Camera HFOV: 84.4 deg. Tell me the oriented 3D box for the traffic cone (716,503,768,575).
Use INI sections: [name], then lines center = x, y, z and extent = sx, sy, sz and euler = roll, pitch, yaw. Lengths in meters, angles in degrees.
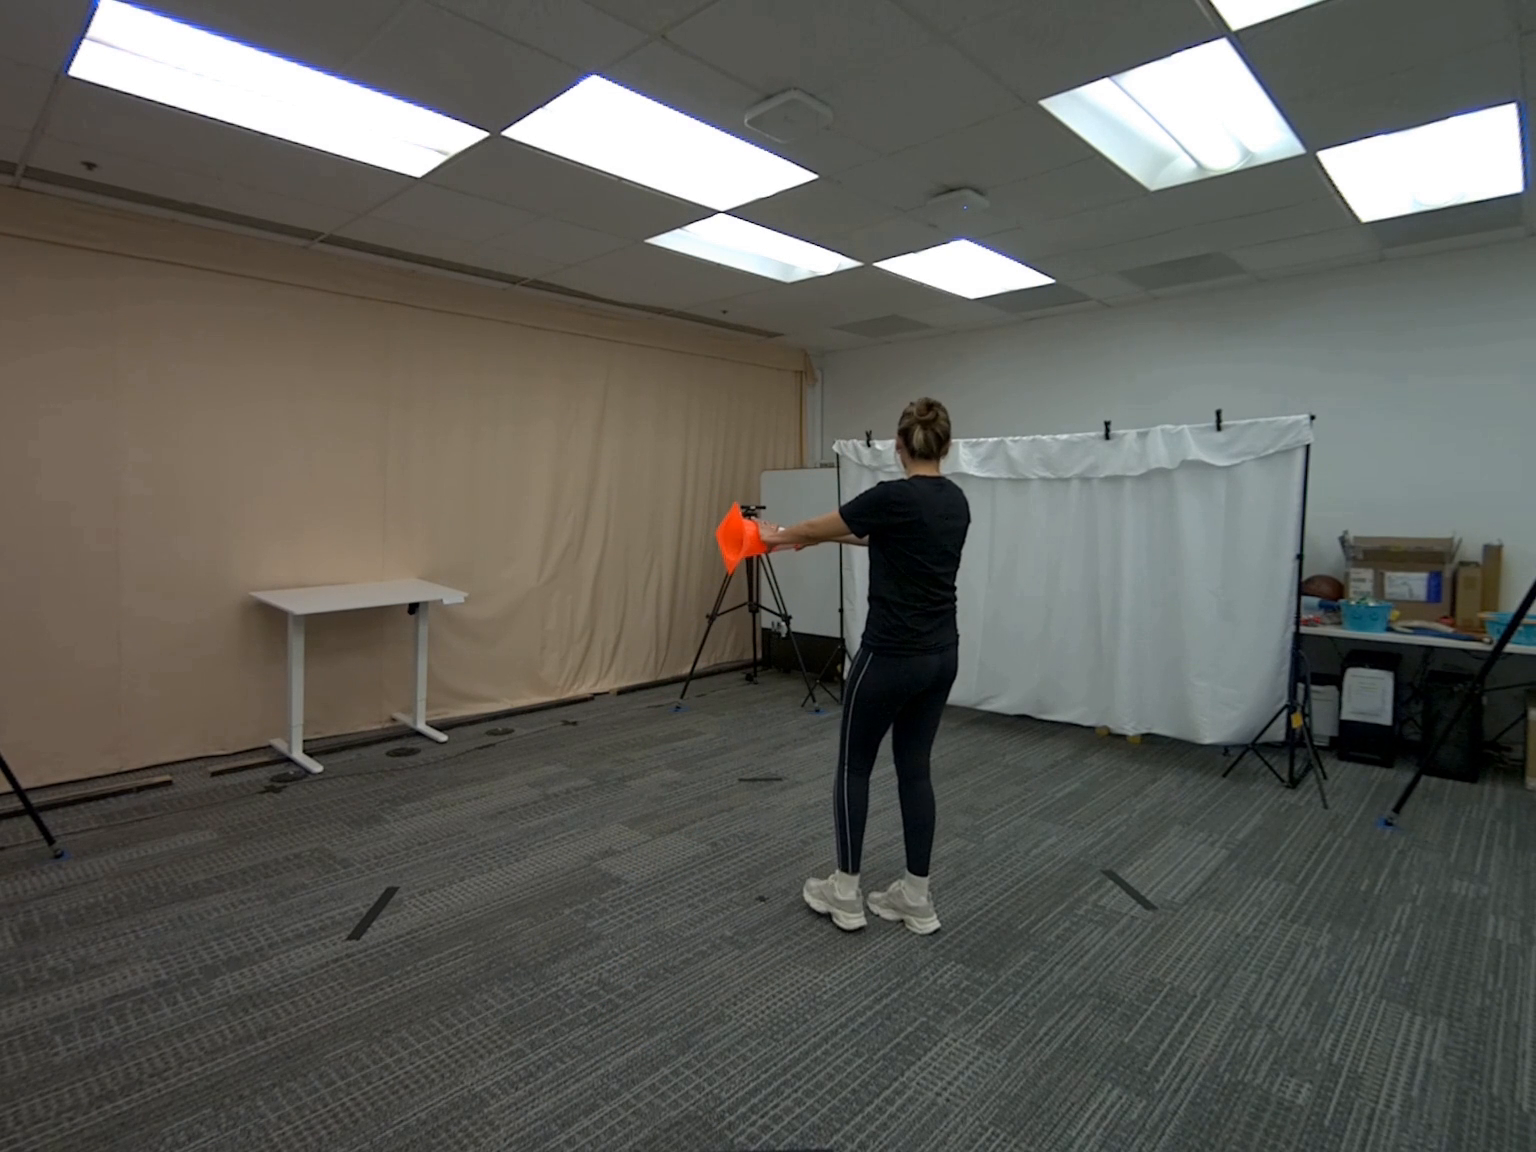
[traffic cone]
center = 0.034, -0.126, 3.165
extent = 0.374, 0.210, 0.204
euler = 3, -35, -26
